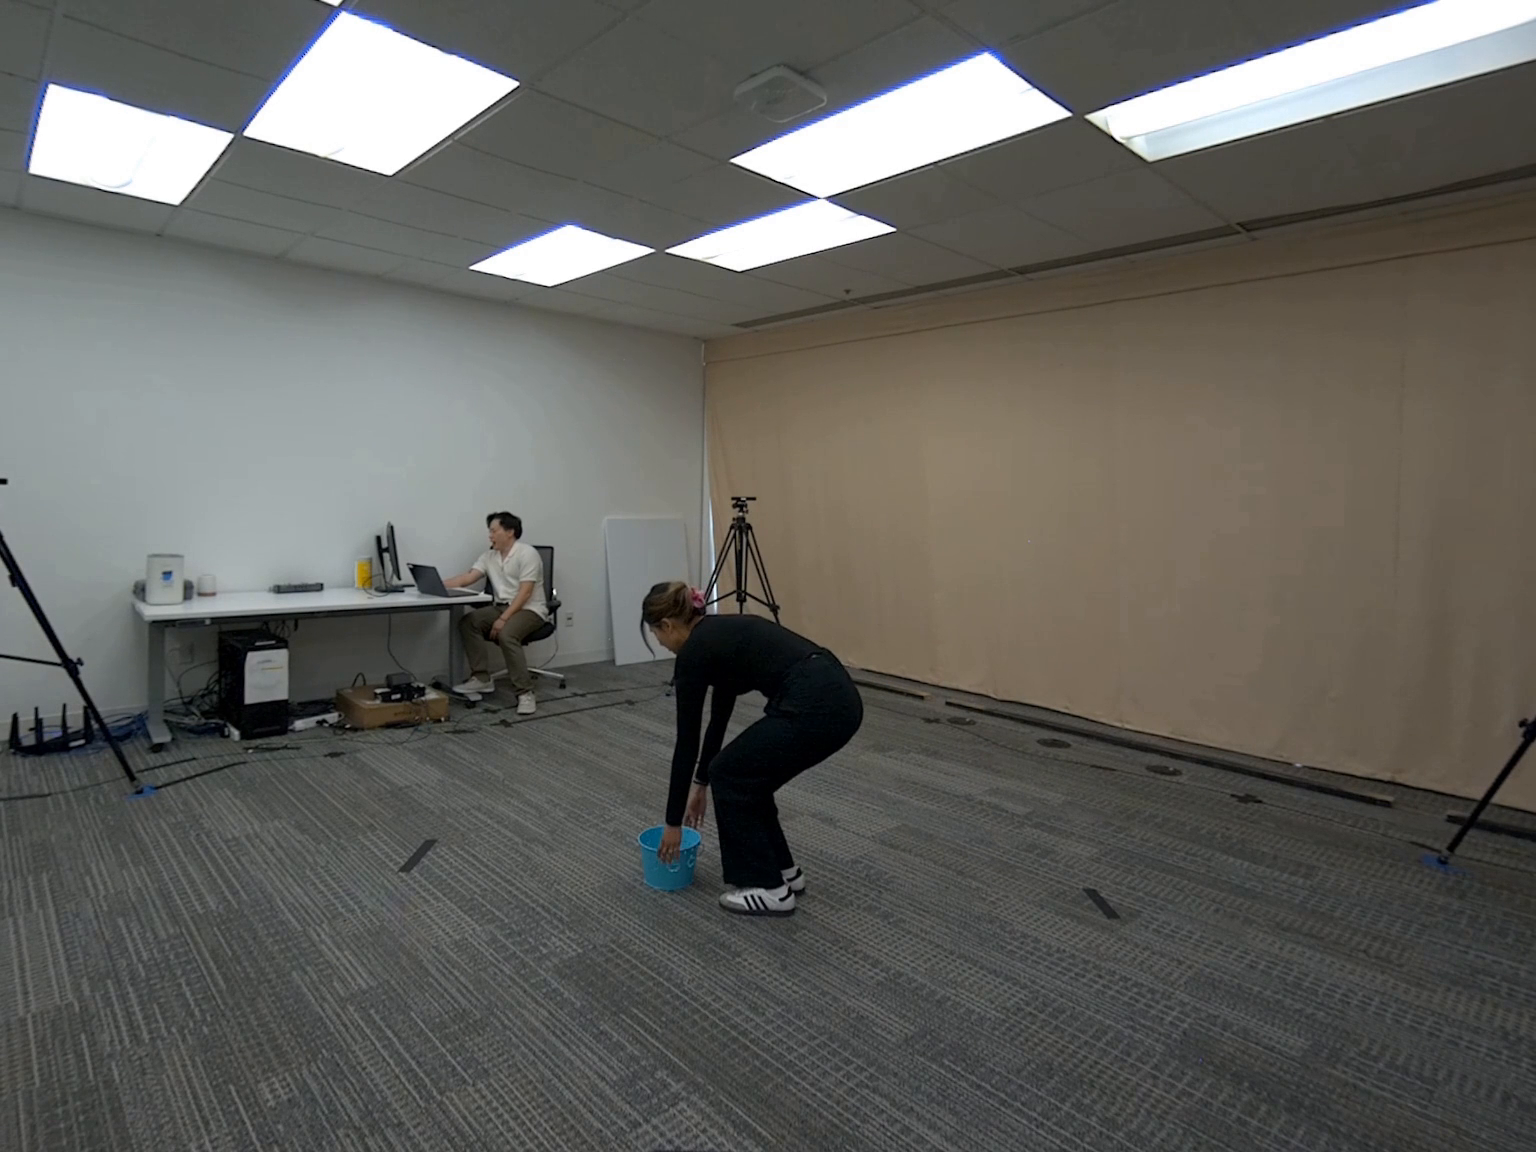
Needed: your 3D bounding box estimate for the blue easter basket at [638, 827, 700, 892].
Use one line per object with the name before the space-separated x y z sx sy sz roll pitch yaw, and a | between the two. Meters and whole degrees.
blue easter basket | -0.359 1.029 3.072 0.243 0.155 0.244 1 5 -1
